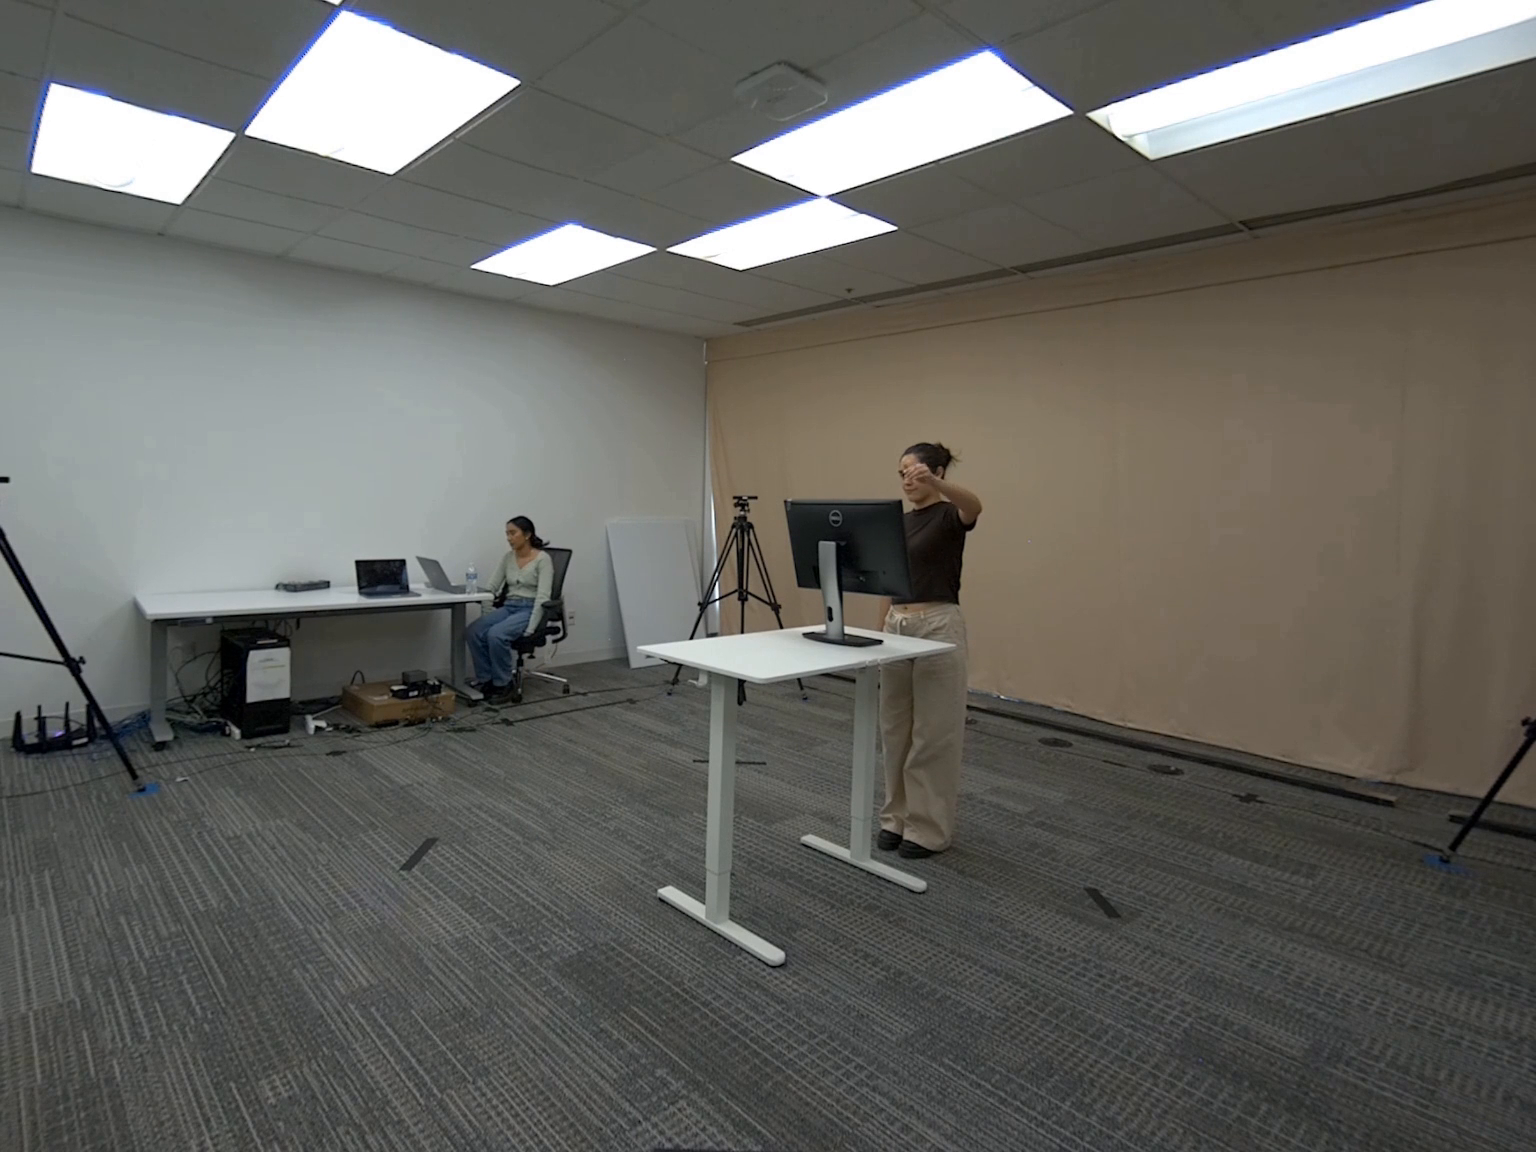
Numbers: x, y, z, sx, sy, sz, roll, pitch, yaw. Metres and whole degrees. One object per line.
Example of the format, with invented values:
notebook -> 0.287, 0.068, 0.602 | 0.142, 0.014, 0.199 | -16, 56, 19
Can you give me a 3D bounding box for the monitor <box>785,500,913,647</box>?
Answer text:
monitor -> 0.260, -0.013, 3.042 | 0.553, 0.521, 0.183 | 5, 7, 44
